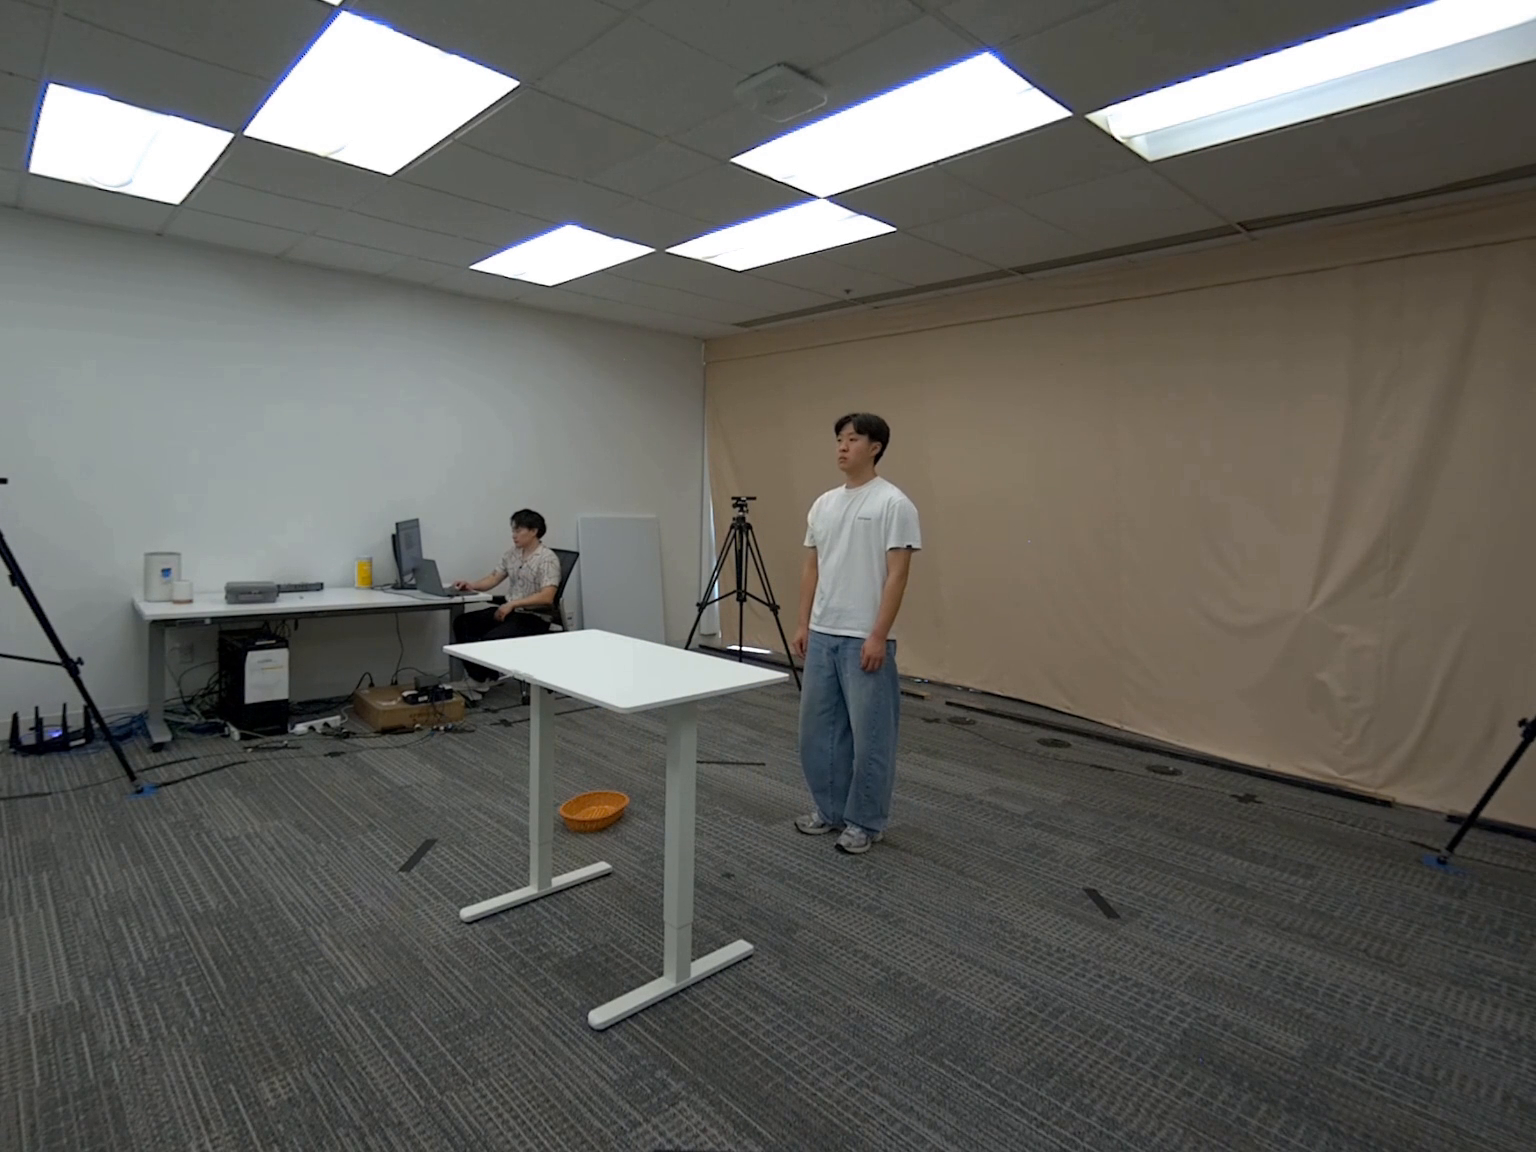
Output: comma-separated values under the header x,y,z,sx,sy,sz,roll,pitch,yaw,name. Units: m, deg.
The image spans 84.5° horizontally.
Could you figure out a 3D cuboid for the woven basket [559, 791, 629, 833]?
x,y,z,sx,sy,sz,roll,pitch,yaw,name
-0.743,0.998,3.599,0.257,0.073,0.345,3,6,22,woven basket
